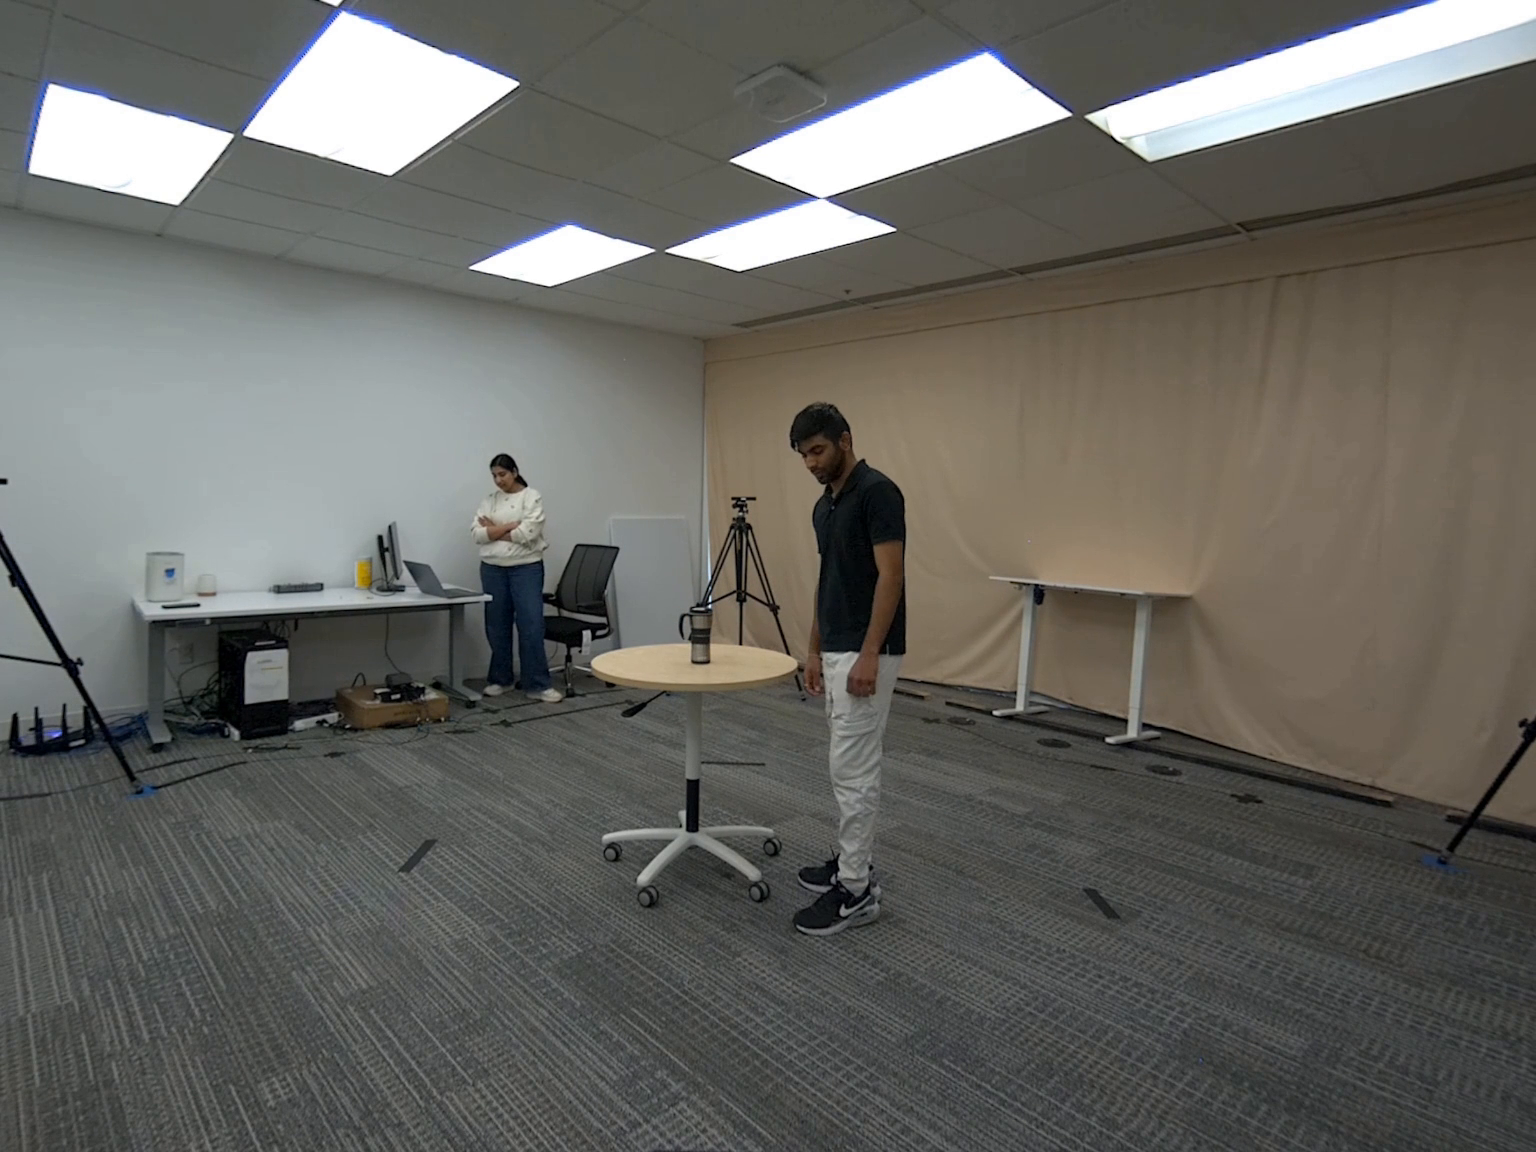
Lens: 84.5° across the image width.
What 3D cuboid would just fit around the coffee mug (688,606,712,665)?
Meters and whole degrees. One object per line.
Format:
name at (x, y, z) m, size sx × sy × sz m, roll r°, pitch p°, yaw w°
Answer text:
coffee mug at (-0.268, 0.220, 3.110) m, size 0.123 × 0.202 × 0.087 m, roll 5°, pitch 6°, yaw 9°
